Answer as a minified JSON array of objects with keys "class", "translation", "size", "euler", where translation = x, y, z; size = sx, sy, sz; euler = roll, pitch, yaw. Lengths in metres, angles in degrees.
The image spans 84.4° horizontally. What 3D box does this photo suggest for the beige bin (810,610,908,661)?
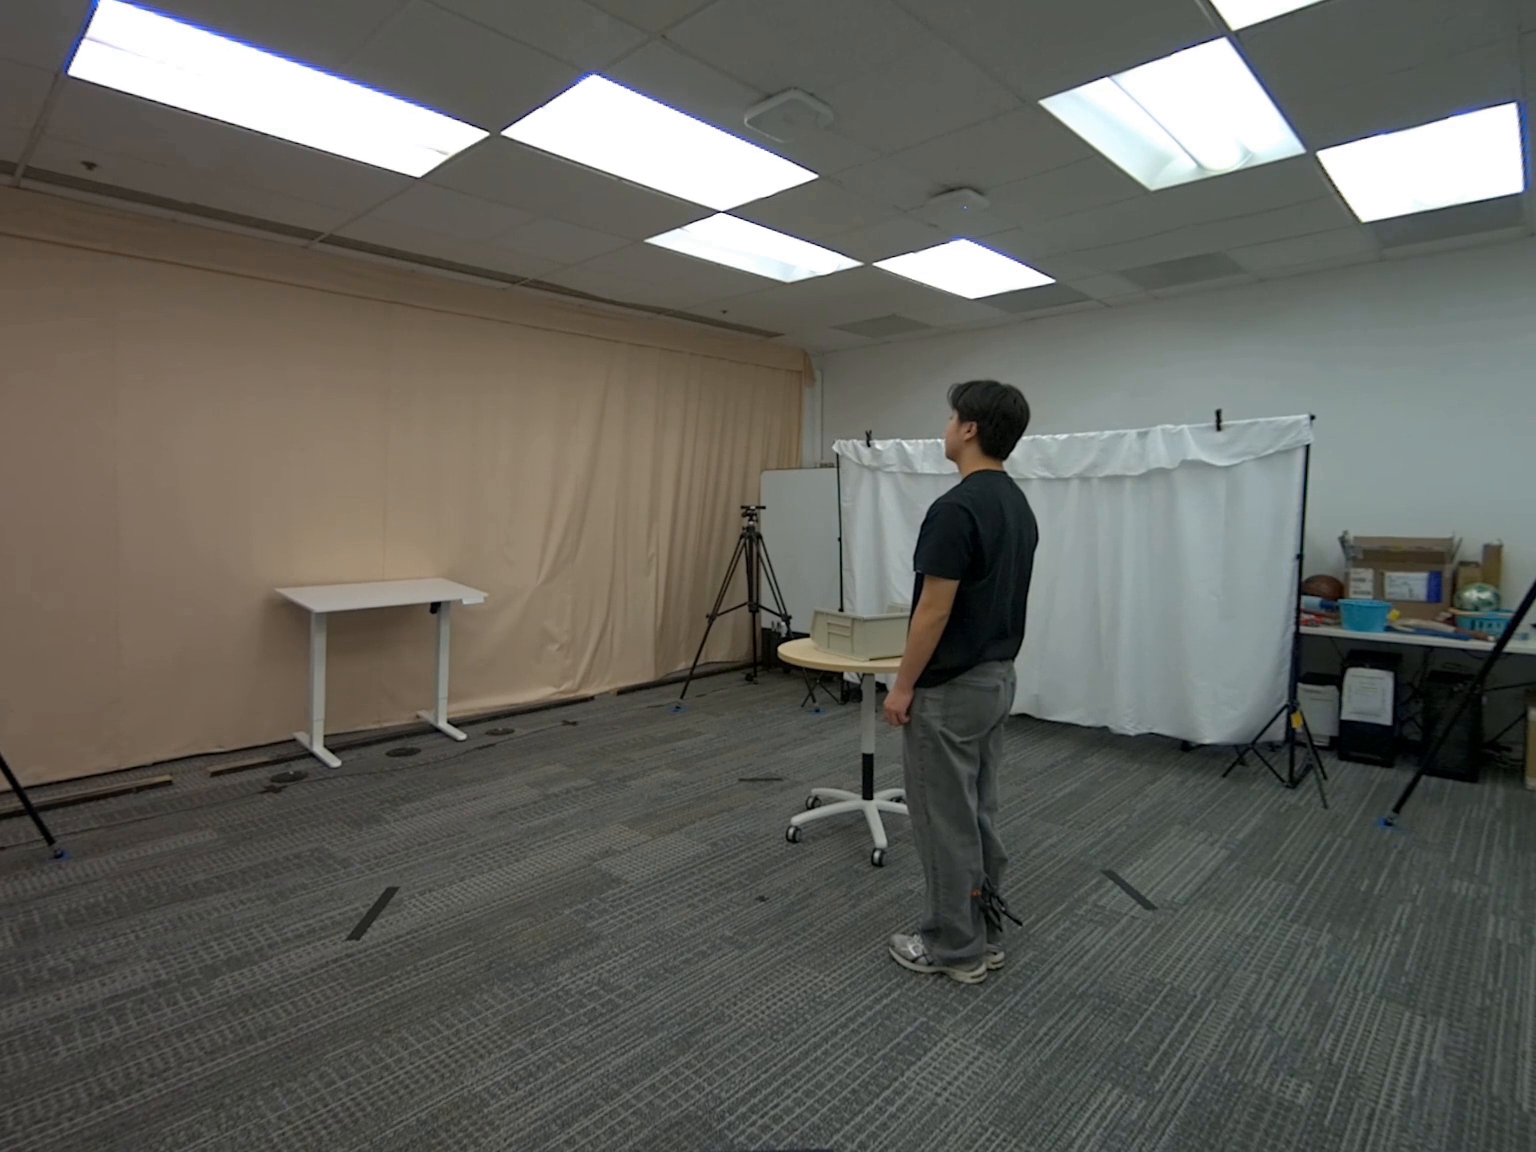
[{"class":"beige bin","translation":[0.454,0.226,3.525],"size":[0.411,0.188,0.389],"euler":[-3,6,-30]}]
